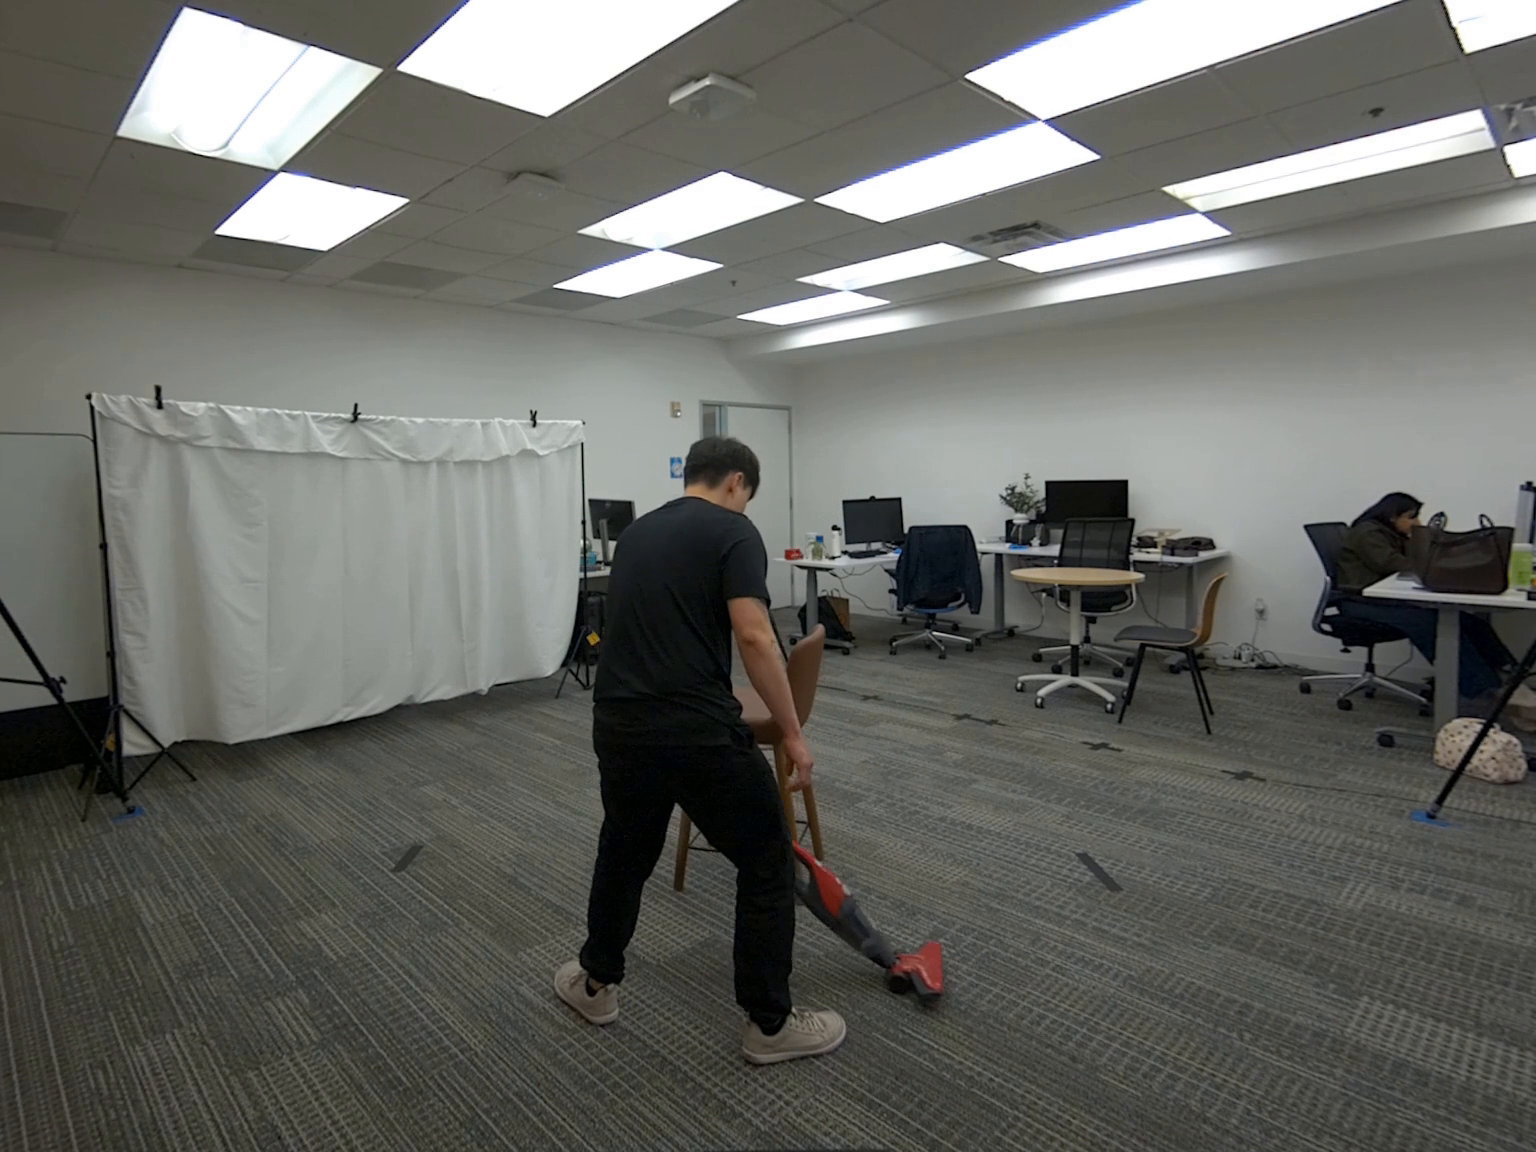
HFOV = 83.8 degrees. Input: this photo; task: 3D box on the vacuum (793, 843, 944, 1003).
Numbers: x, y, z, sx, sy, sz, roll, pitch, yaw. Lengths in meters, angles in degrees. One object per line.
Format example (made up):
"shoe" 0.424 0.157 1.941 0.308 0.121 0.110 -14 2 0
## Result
"vacuum" 0.014 0.777 2.448 1.064 0.144 0.249 38 10 10
